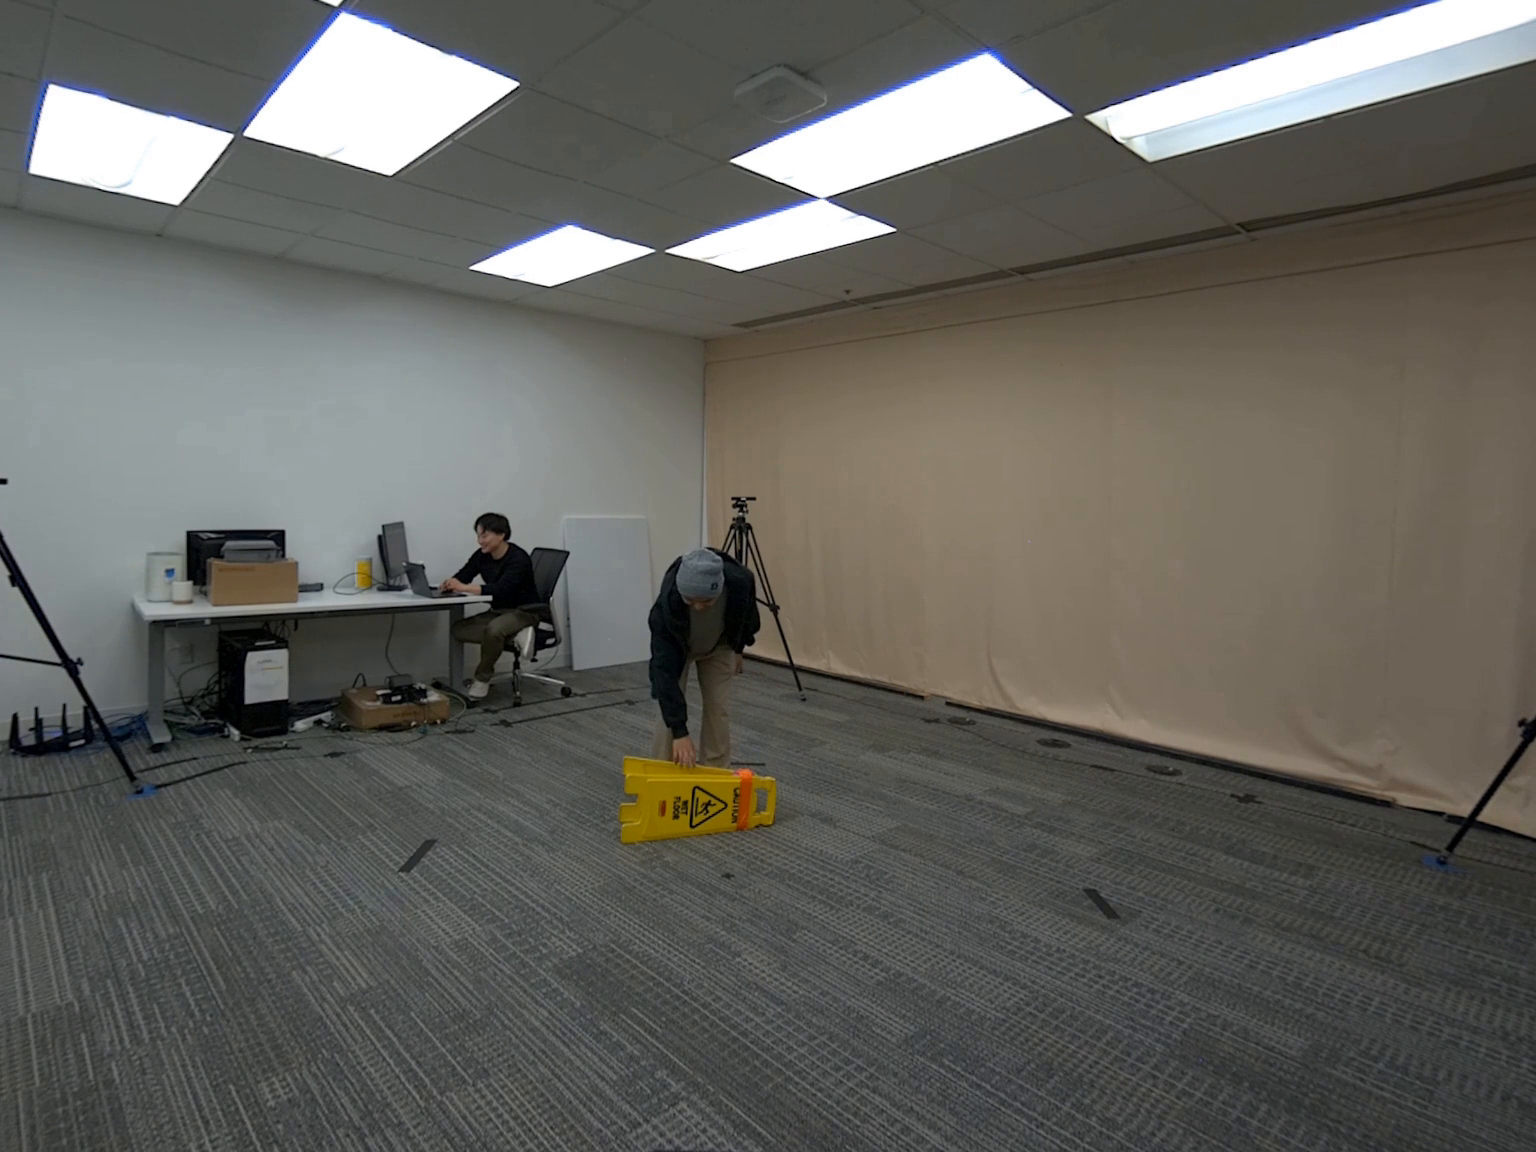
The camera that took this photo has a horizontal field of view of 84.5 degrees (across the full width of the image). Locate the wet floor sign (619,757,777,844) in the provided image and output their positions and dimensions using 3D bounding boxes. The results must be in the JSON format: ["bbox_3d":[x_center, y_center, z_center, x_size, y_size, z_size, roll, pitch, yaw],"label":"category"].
[{"bbox_3d":[-0.297,0.939,3.549,0.640,0.282,0.293,4,4,-10],"label":"wet floor sign"}]
